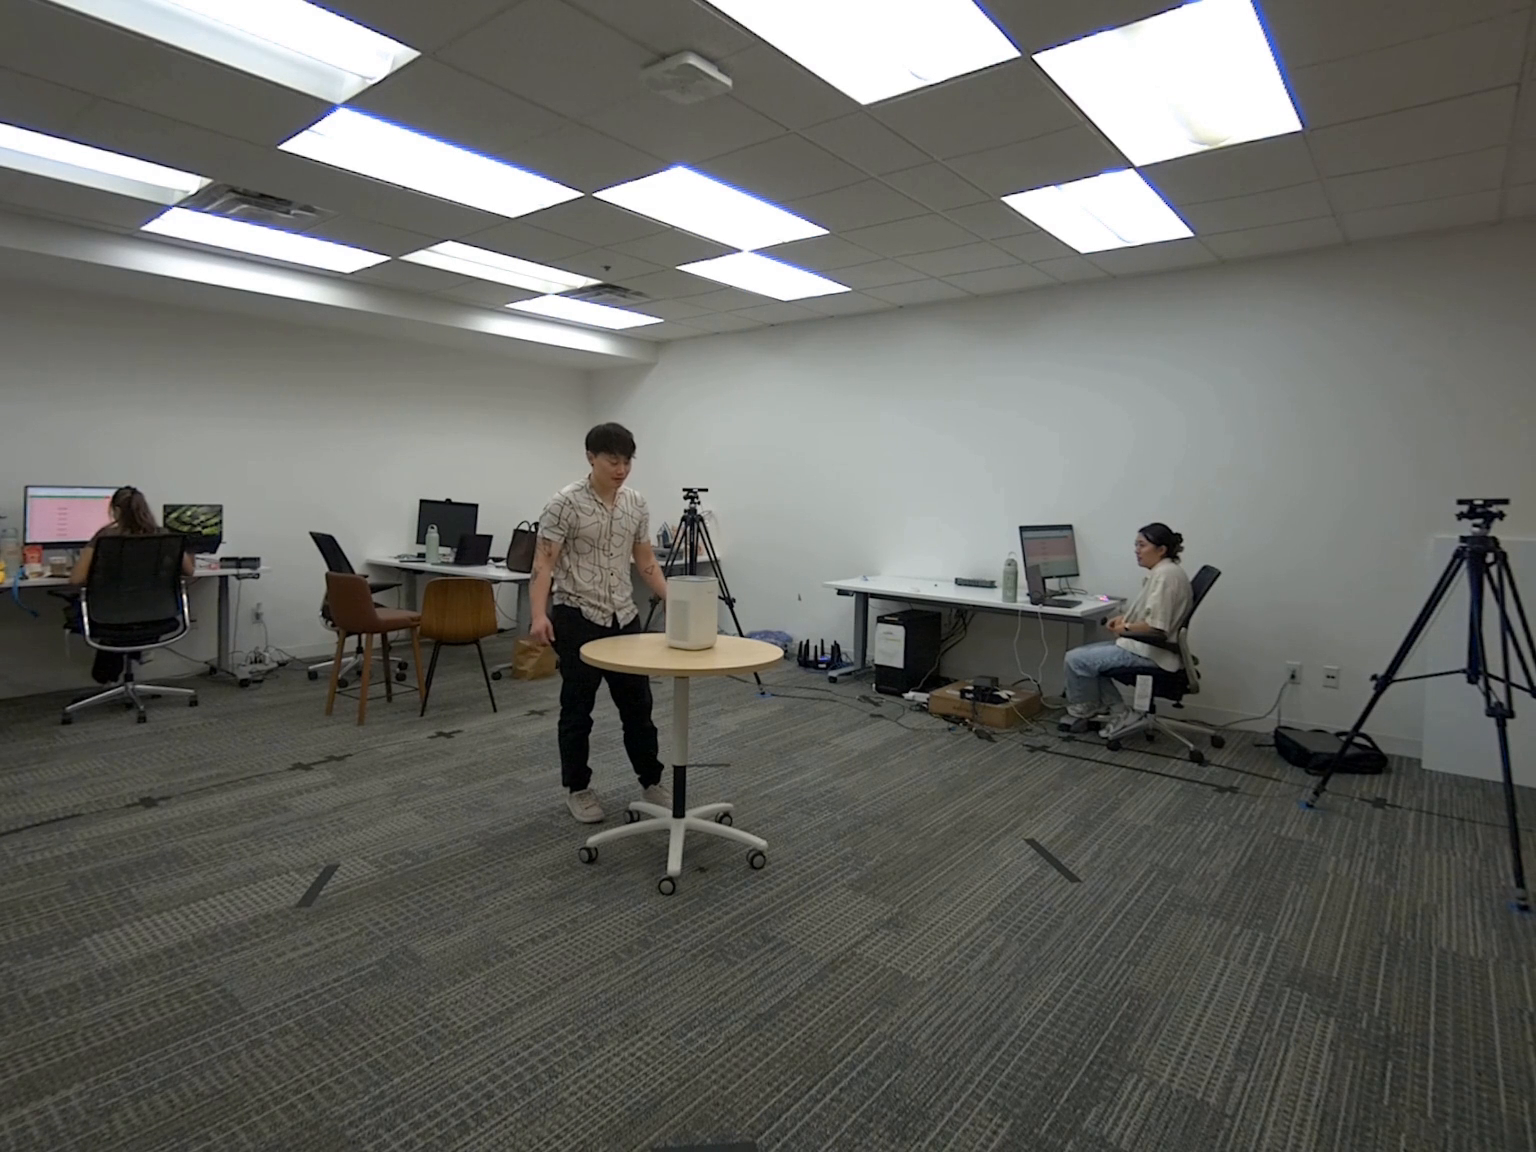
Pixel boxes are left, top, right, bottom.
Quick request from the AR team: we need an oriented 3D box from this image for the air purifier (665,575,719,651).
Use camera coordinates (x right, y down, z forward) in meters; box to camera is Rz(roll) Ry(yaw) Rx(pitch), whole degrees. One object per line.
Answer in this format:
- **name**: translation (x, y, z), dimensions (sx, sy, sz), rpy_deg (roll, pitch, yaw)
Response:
- **air purifier**: translation (-0.303, 0.139, 3.257), dimensions (0.176, 0.265, 0.167), rpy_deg (2, 4, 29)
